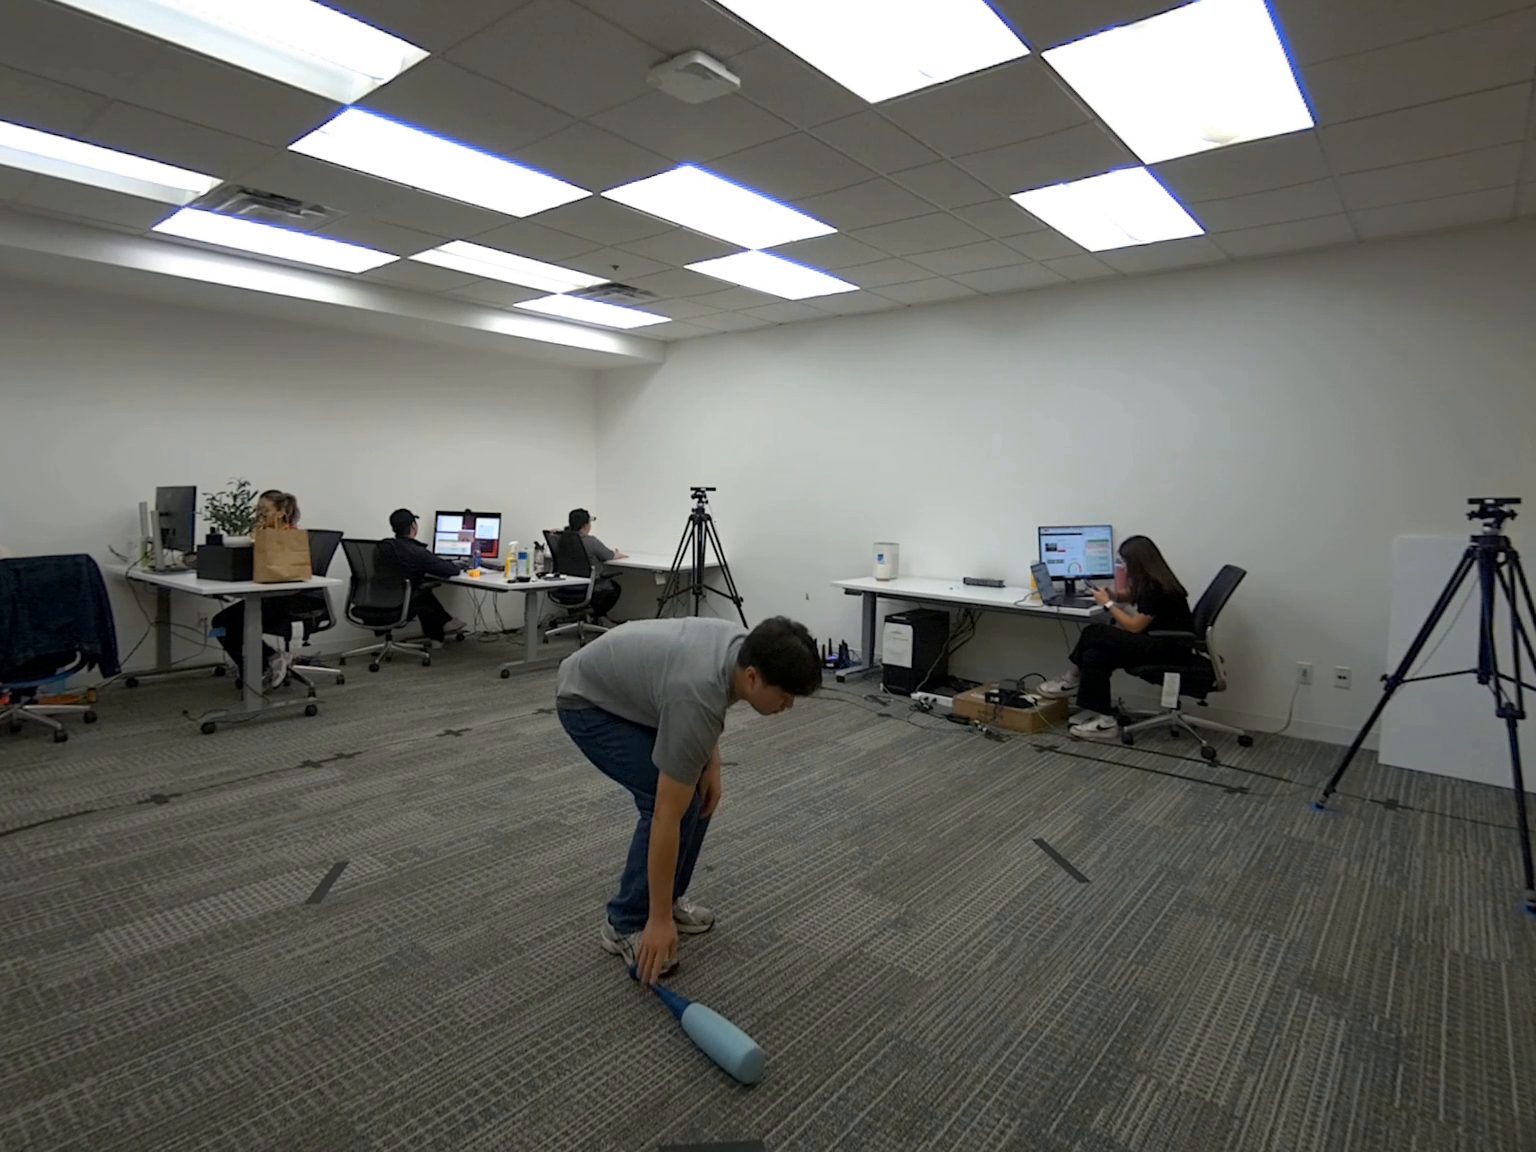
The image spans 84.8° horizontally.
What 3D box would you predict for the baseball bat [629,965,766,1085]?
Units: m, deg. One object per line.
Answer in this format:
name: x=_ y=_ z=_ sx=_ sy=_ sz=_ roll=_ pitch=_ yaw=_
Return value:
baseball bat: x=-0.216 y=1.124 z=2.188 sx=0.086 sy=0.089 sz=0.560 roll=-2 pitch=3 yaw=-39
